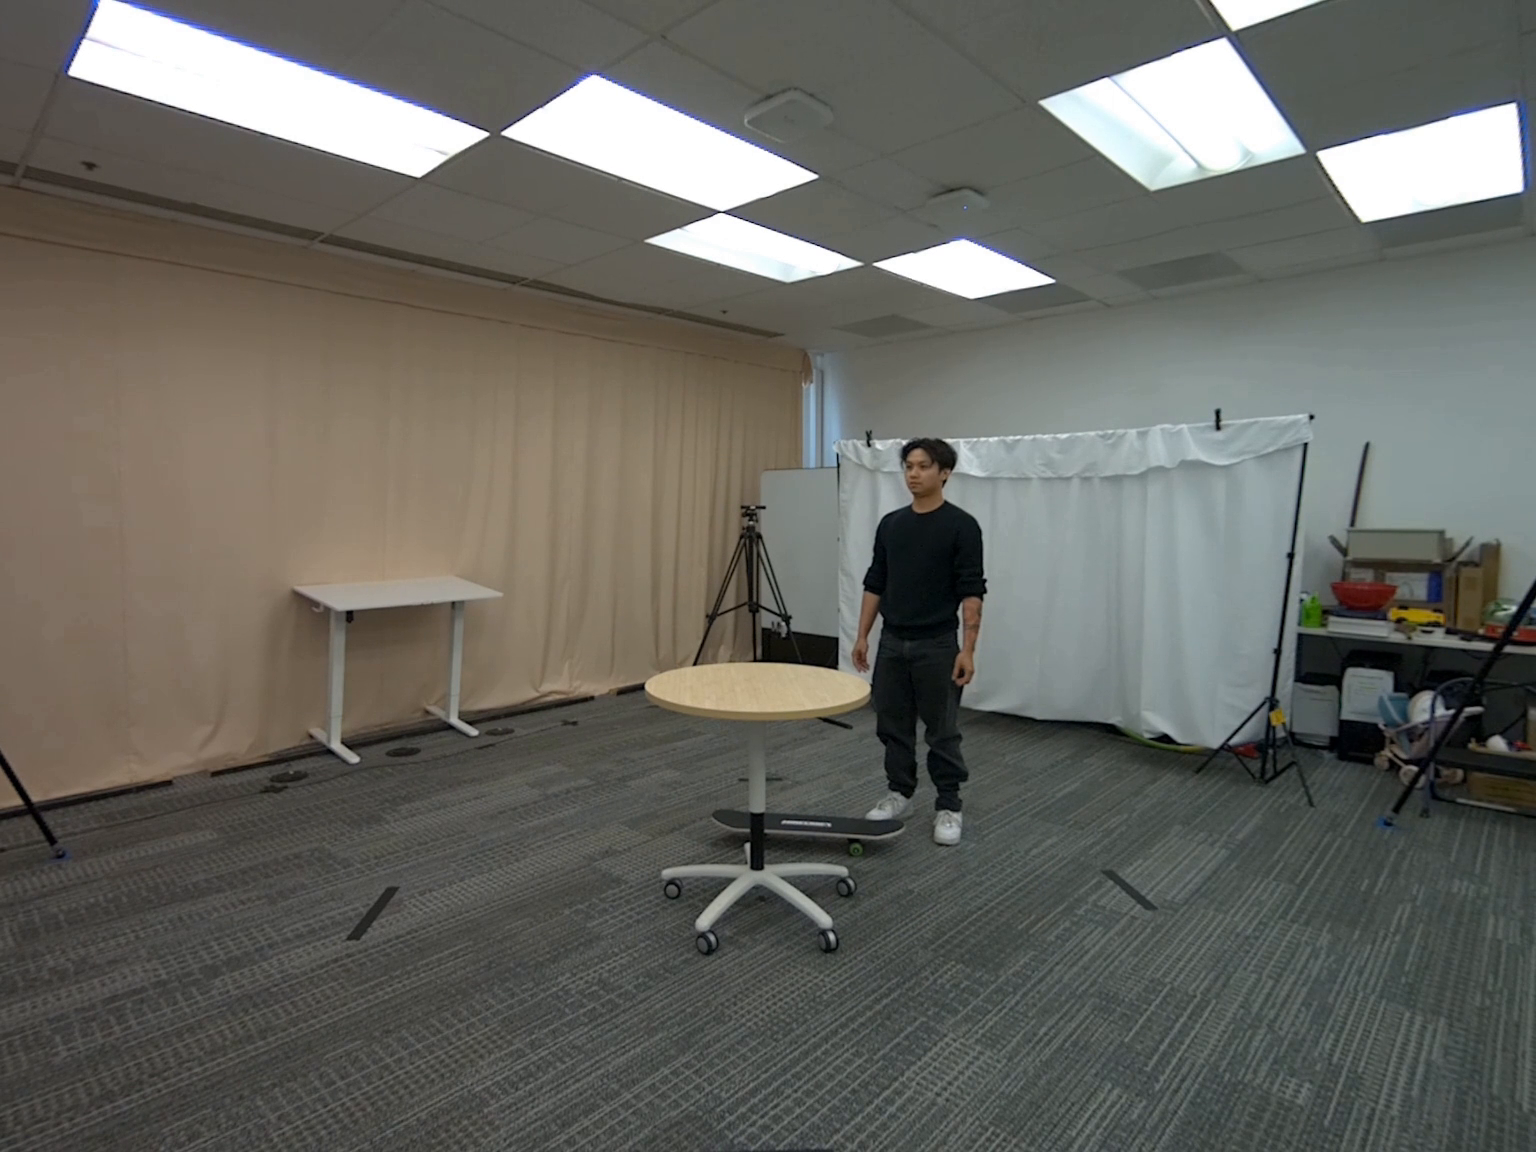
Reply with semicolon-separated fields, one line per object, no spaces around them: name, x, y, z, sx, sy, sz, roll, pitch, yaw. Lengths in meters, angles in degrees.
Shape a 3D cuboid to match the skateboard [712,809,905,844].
skateboard;0.159;1.045;3.453;0.793;0.110;0.192;1;4;9
